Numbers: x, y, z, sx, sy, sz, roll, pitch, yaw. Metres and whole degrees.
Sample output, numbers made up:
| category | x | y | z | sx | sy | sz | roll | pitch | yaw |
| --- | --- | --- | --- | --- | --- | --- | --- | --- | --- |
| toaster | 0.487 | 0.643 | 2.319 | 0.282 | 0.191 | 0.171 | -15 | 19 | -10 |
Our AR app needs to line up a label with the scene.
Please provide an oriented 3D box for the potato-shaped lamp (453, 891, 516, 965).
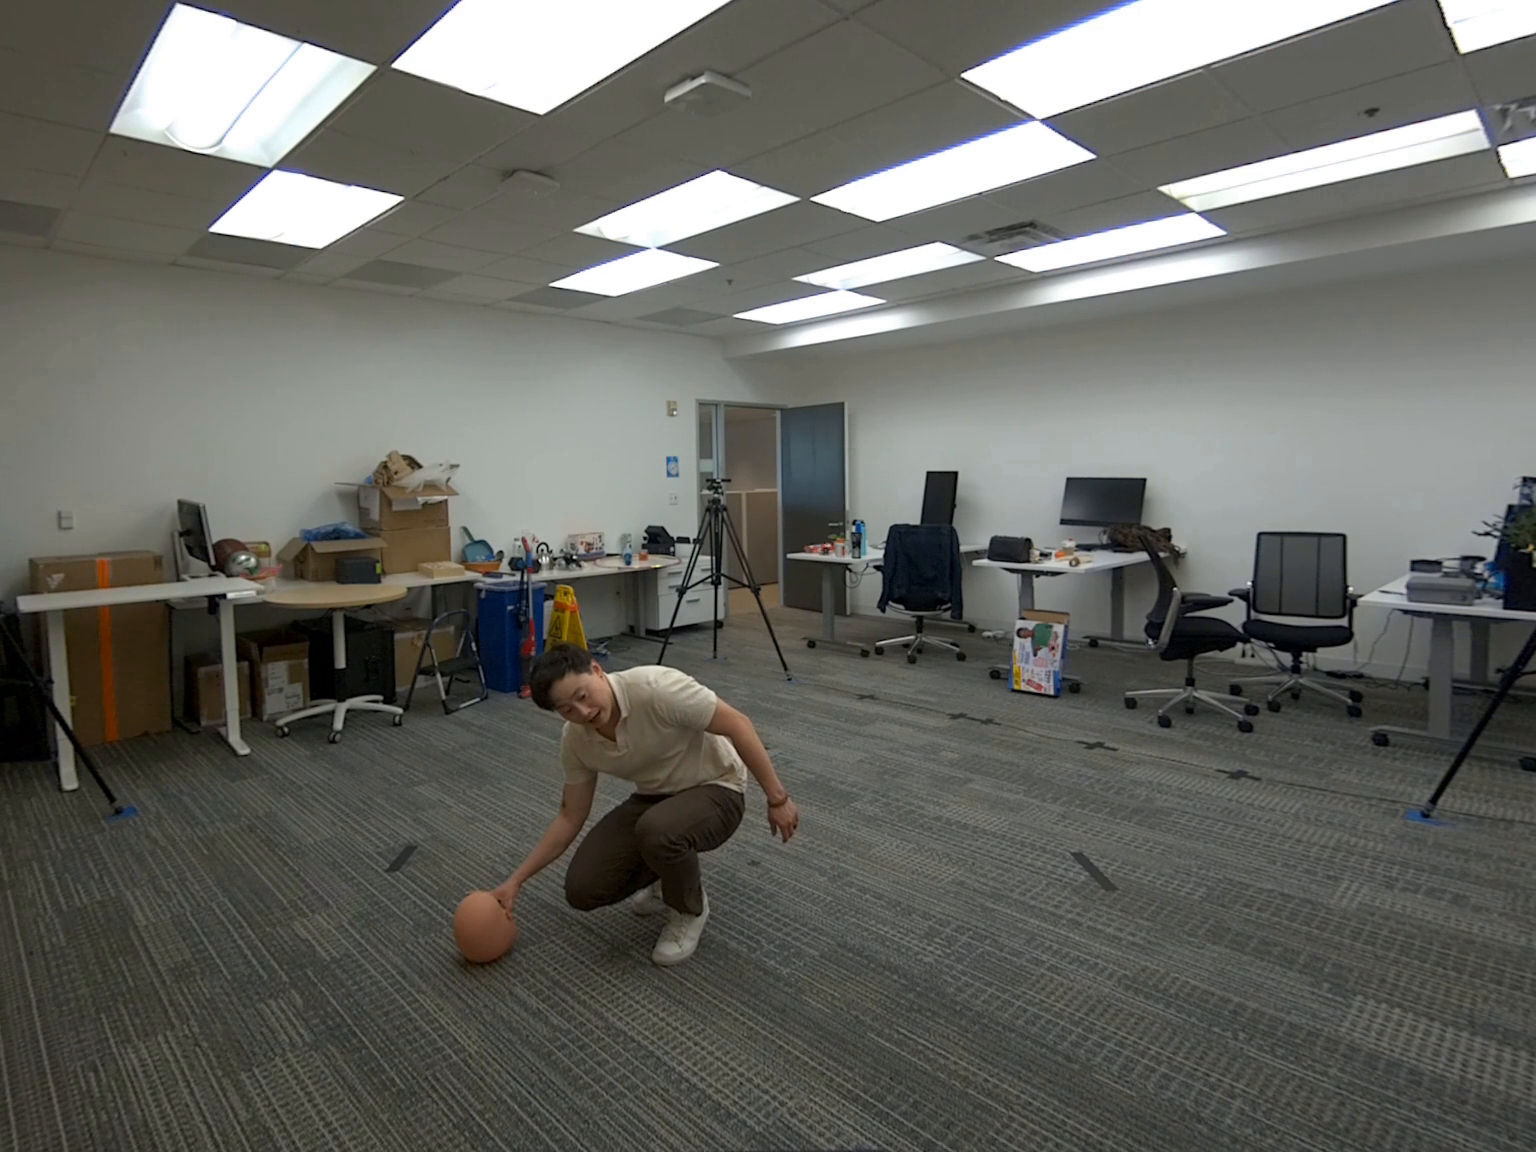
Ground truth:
| category | x | y | z | sx | sy | sz | roll | pitch | yaw |
| --- | --- | --- | --- | --- | --- | --- | --- | --- | --- |
| potato-shaped lamp | -0.836 | 1.029 | 2.506 | 0.164 | 0.193 | 0.176 | -14 | 24 | -5 |
